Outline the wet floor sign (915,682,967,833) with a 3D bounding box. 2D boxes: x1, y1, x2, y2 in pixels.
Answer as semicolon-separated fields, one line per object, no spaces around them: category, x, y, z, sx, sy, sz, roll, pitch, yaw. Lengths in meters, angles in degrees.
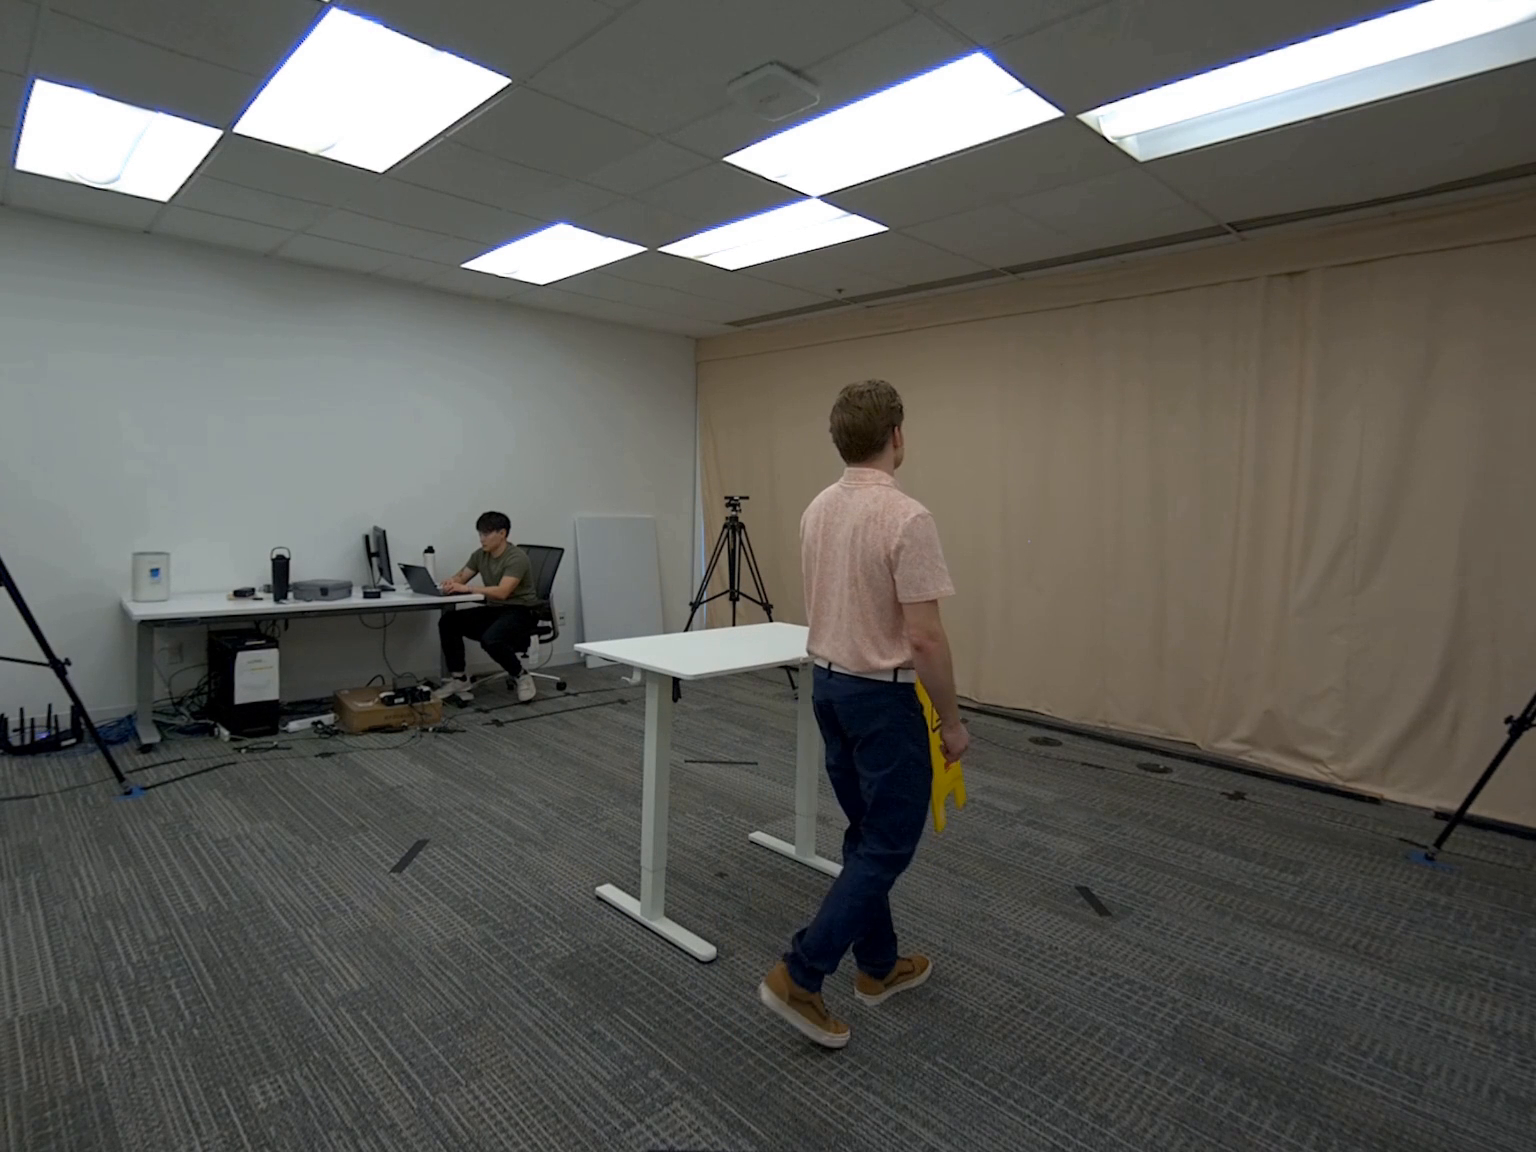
wet floor sign;0.472;0.418;2.633;0.296;0.642;0.278;4;9;28
